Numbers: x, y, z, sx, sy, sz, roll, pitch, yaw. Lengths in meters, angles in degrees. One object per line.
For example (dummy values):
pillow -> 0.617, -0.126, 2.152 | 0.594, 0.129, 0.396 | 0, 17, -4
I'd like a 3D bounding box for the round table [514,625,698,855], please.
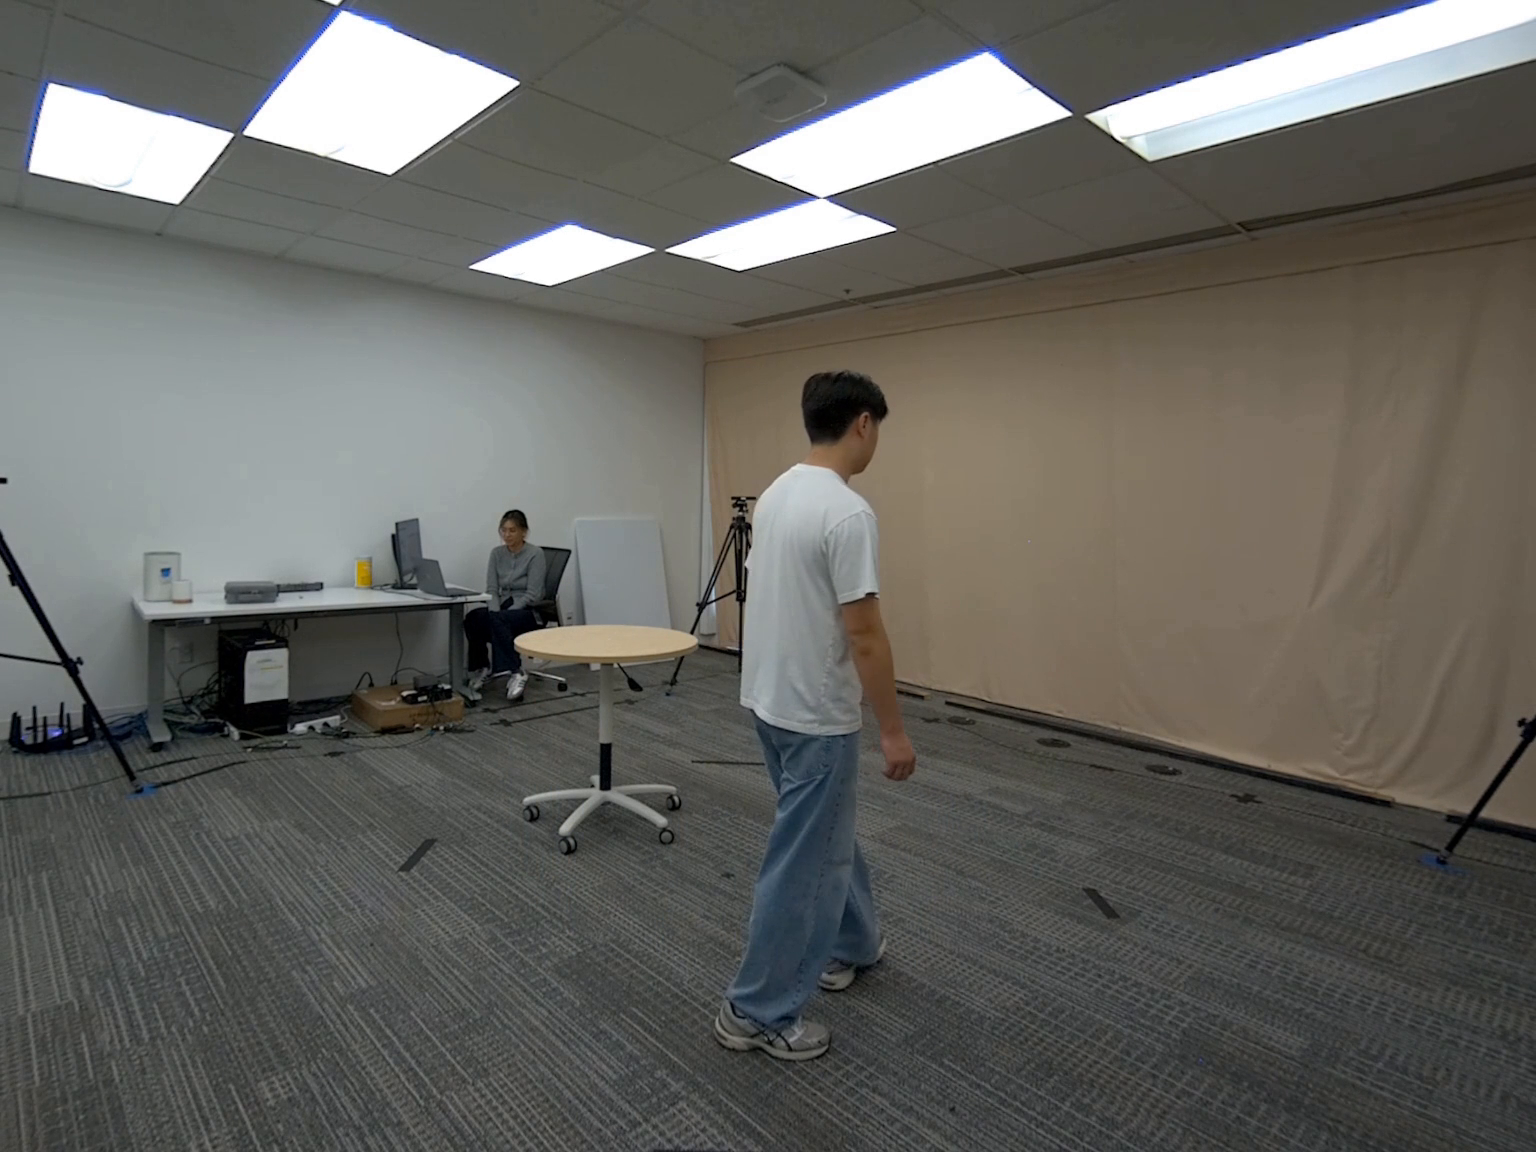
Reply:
round table -> -0.696, 0.664, 3.569 | 0.763, 0.792, 0.766 | 1, 4, -1
